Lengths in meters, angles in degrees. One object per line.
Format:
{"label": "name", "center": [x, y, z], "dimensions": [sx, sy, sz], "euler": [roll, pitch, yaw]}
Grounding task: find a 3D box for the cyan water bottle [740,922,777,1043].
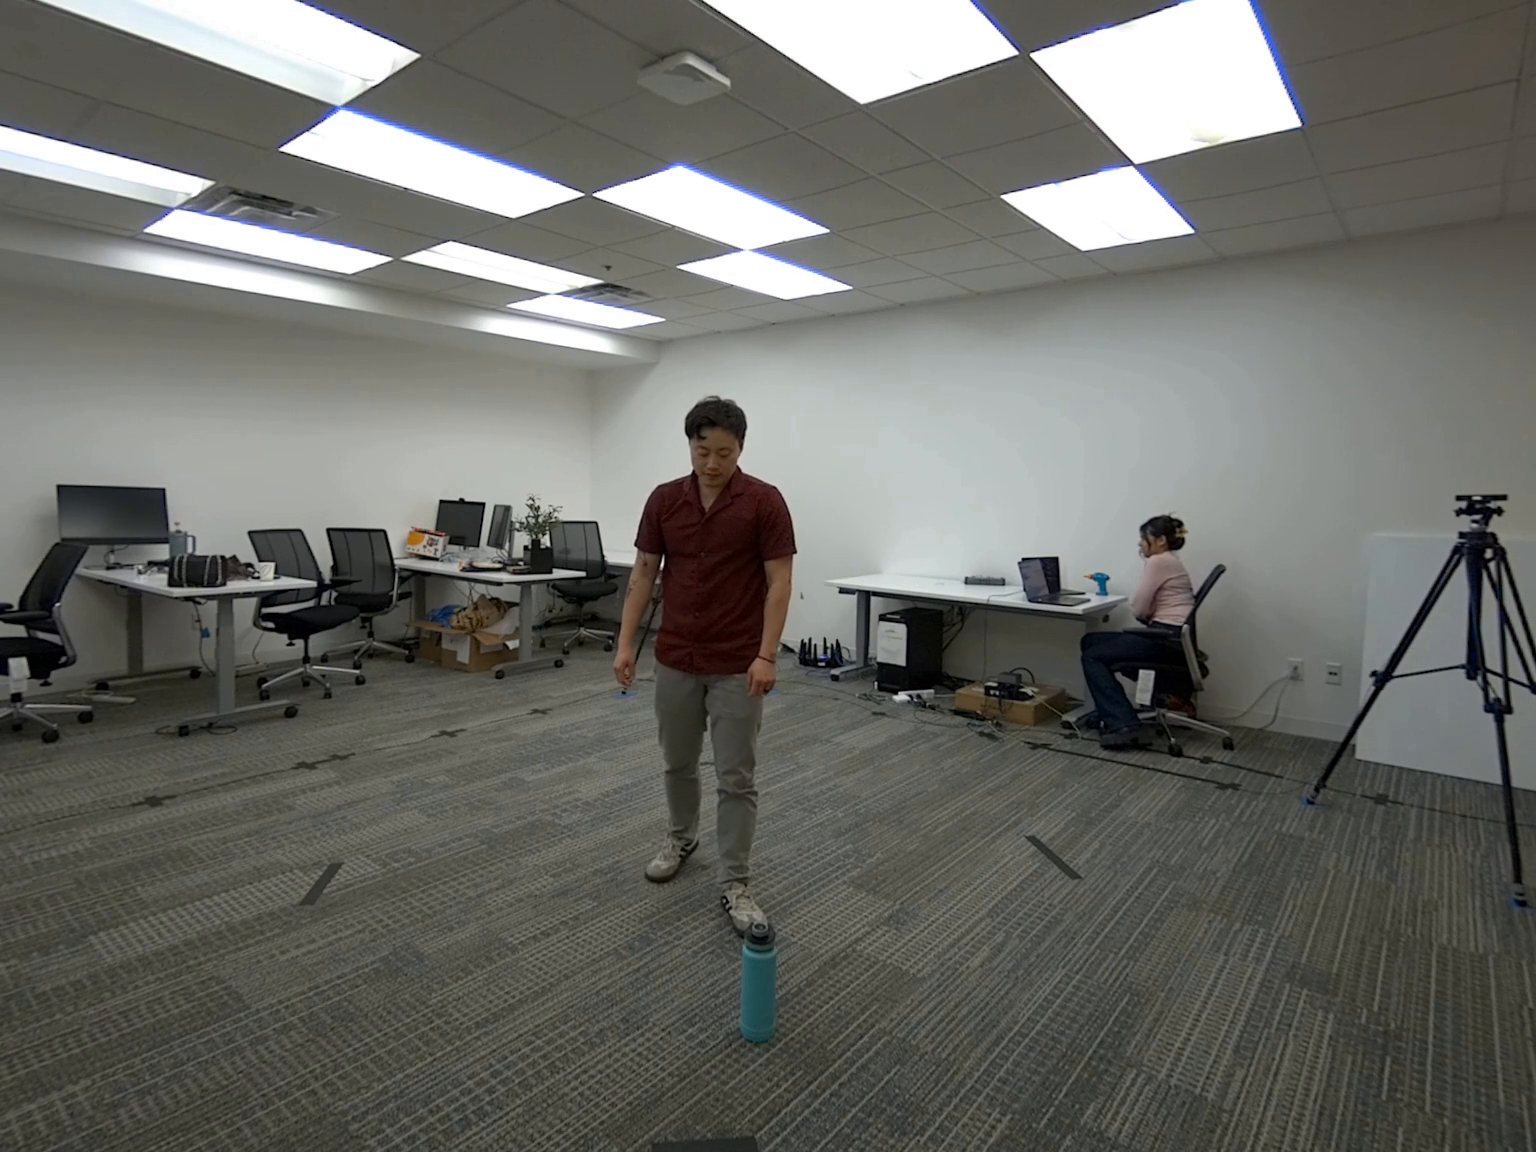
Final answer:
{"label": "cyan water bottle", "center": [-0.026, 1.023, 2.176], "dimensions": [0.092, 0.283, 0.093], "euler": [1, 2, -2]}
